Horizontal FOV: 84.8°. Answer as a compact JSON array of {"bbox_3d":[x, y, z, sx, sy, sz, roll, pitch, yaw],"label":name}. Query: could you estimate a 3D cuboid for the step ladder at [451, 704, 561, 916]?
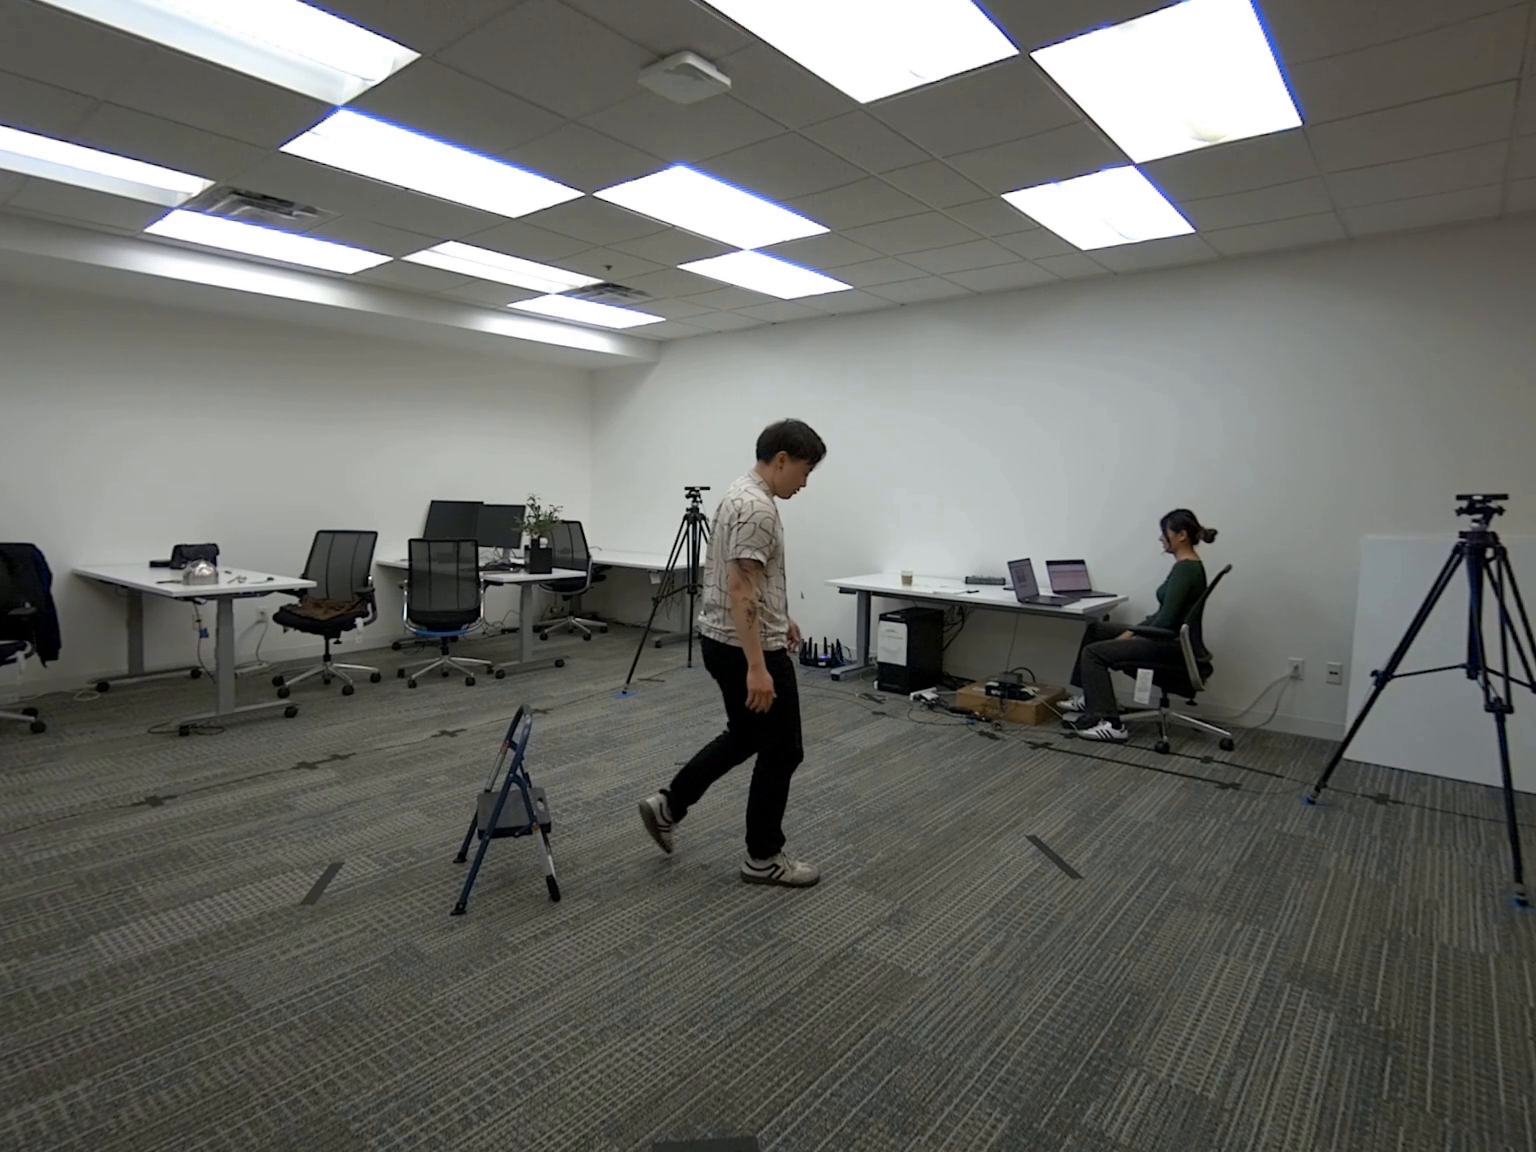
[{"bbox_3d":[-0.929,0.768,2.974,0.343,0.604,0.440,0,4,-19],"label":"step ladder"}]
